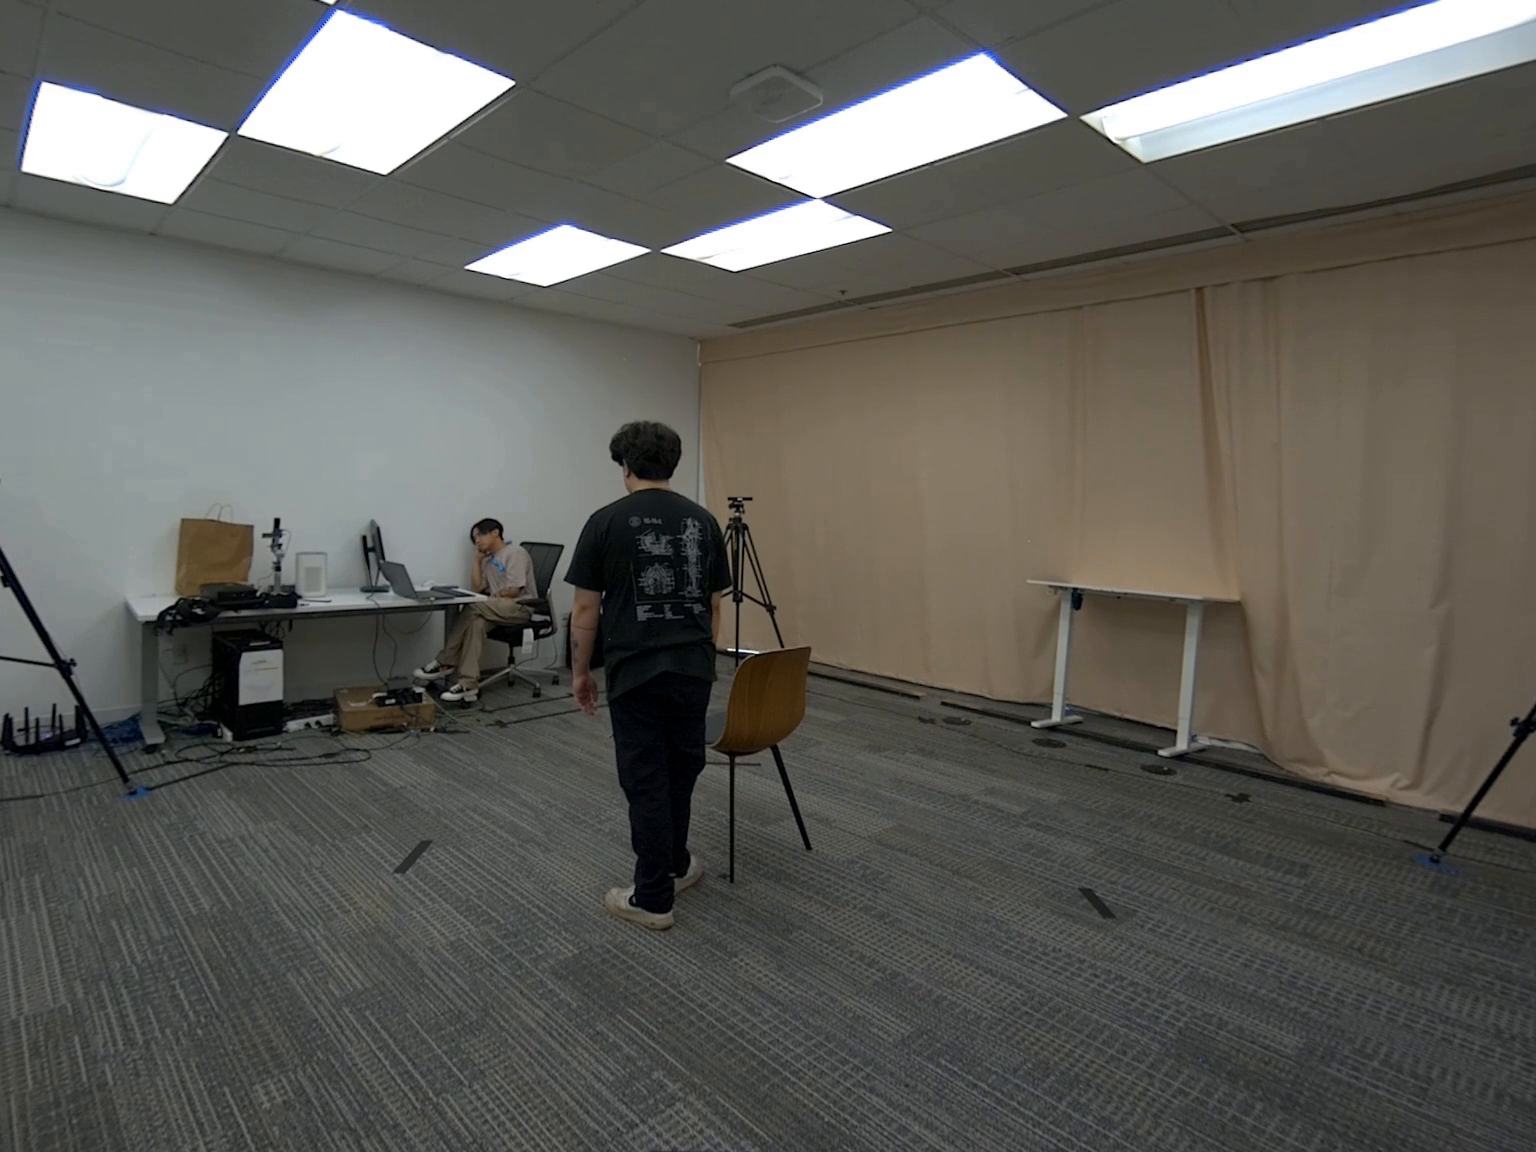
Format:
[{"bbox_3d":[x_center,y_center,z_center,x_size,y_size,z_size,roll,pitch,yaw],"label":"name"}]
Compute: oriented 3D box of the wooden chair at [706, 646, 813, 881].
[{"bbox_3d":[-0.143,0.659,3.334,0.537,0.873,0.467,11,9,44],"label":"wooden chair"}]
